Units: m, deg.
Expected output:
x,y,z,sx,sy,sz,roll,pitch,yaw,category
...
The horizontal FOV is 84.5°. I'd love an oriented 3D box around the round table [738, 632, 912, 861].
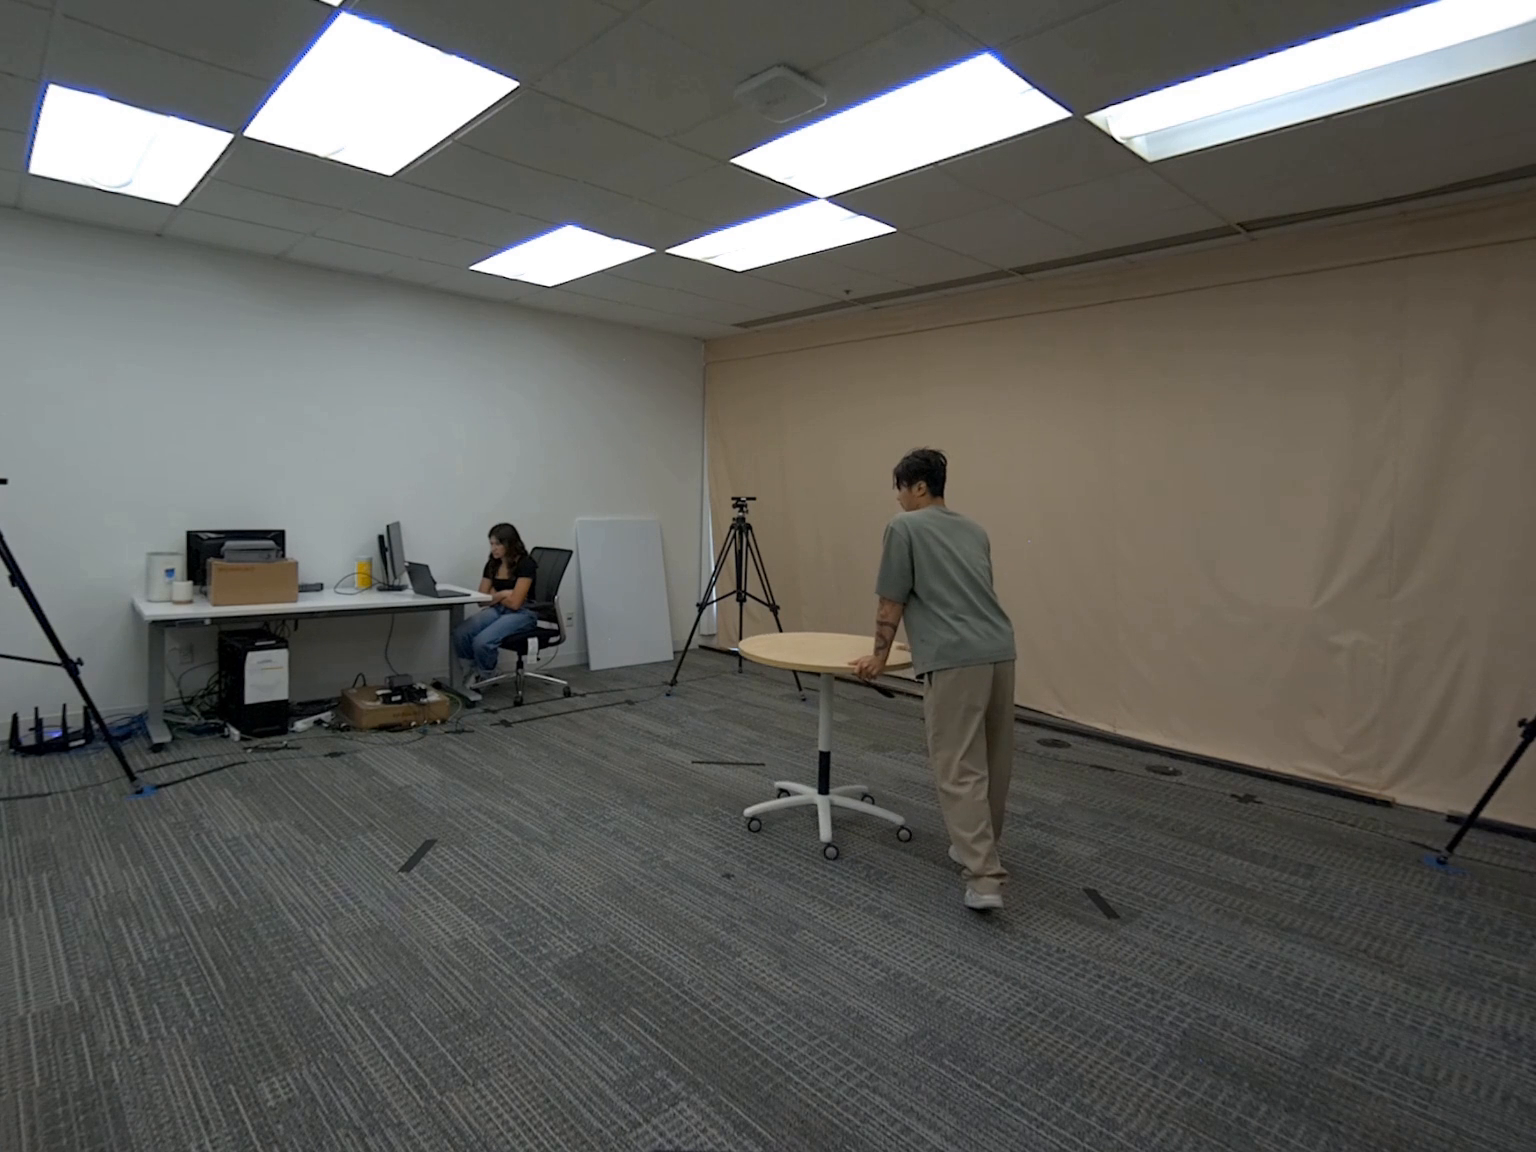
x,y,z,sx,sy,sz,roll,pitch,yaw,category
0.234,0.685,3.609,0.784,0.784,0.788,2,4,-2,round table
